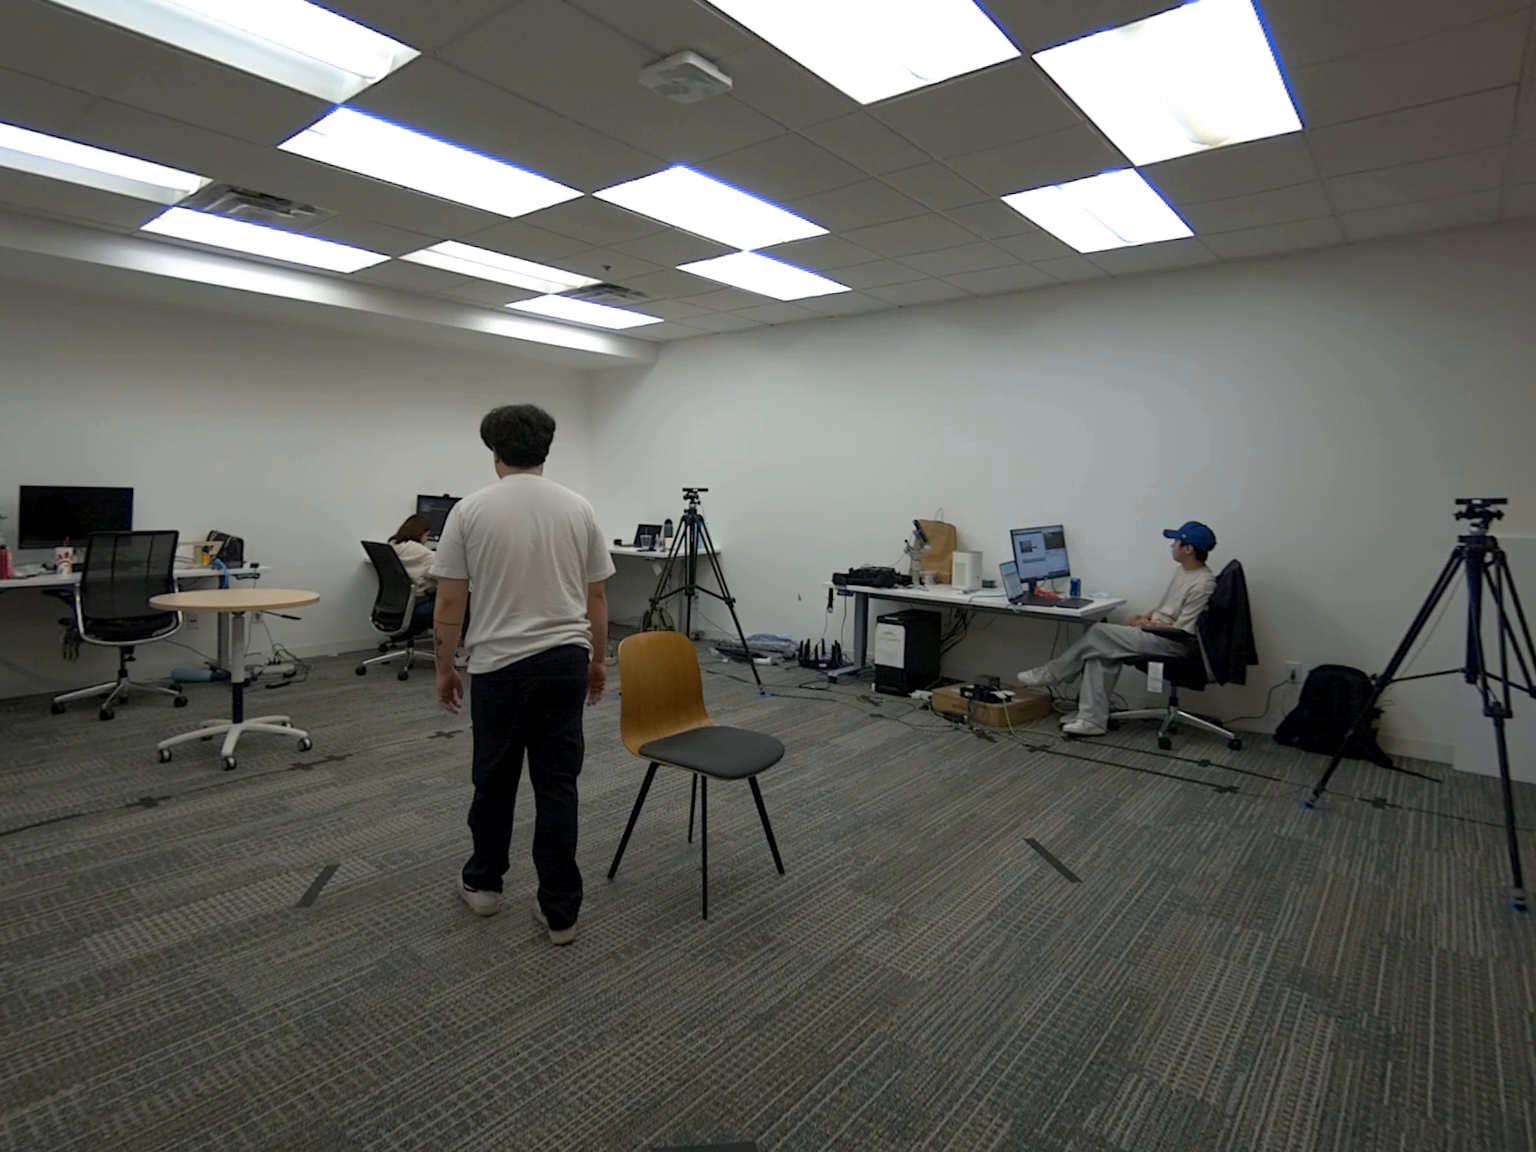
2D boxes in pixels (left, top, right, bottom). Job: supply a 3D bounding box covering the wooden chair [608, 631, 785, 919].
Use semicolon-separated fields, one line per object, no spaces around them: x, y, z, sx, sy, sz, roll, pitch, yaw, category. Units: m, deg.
-0.245;0.648;3.022;0.539;0.877;0.464;-2;1;37;wooden chair
